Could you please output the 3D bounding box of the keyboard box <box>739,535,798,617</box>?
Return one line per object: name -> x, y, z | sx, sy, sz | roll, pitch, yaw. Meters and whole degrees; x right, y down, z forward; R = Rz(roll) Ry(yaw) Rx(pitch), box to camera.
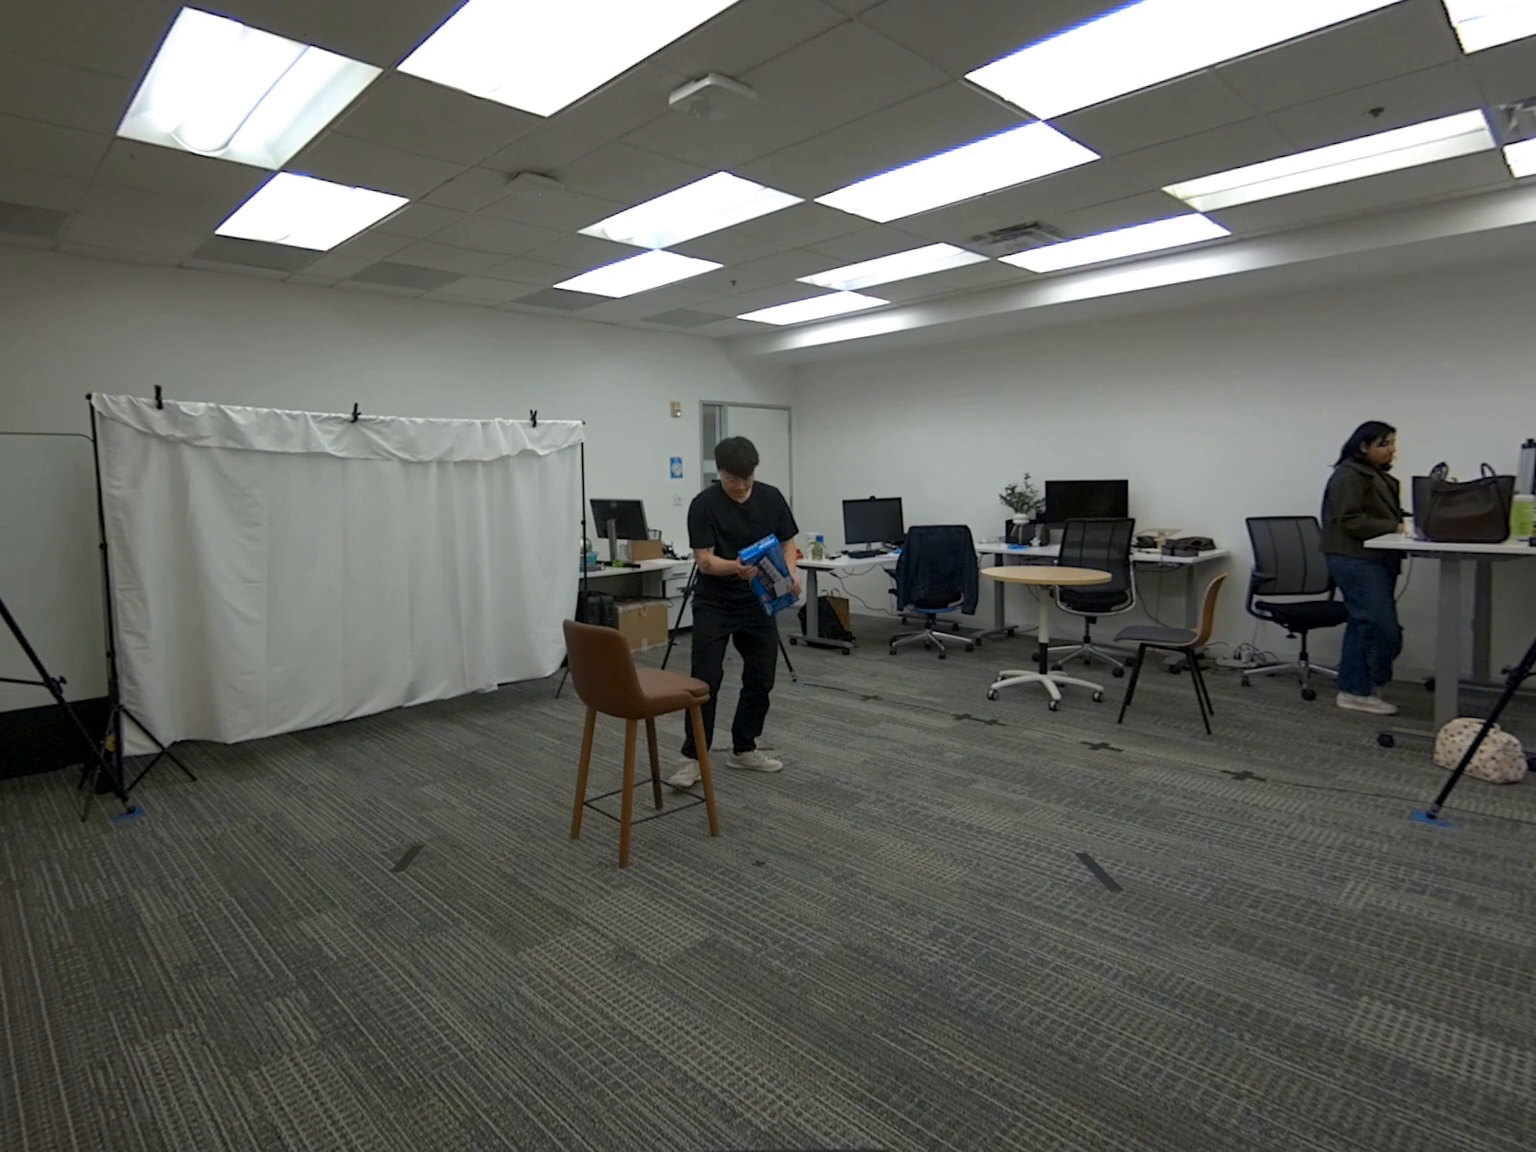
keyboard box -> 0.007, 0.010, 3.784 | 0.175, 0.421, 0.061 | -27, 49, -4
